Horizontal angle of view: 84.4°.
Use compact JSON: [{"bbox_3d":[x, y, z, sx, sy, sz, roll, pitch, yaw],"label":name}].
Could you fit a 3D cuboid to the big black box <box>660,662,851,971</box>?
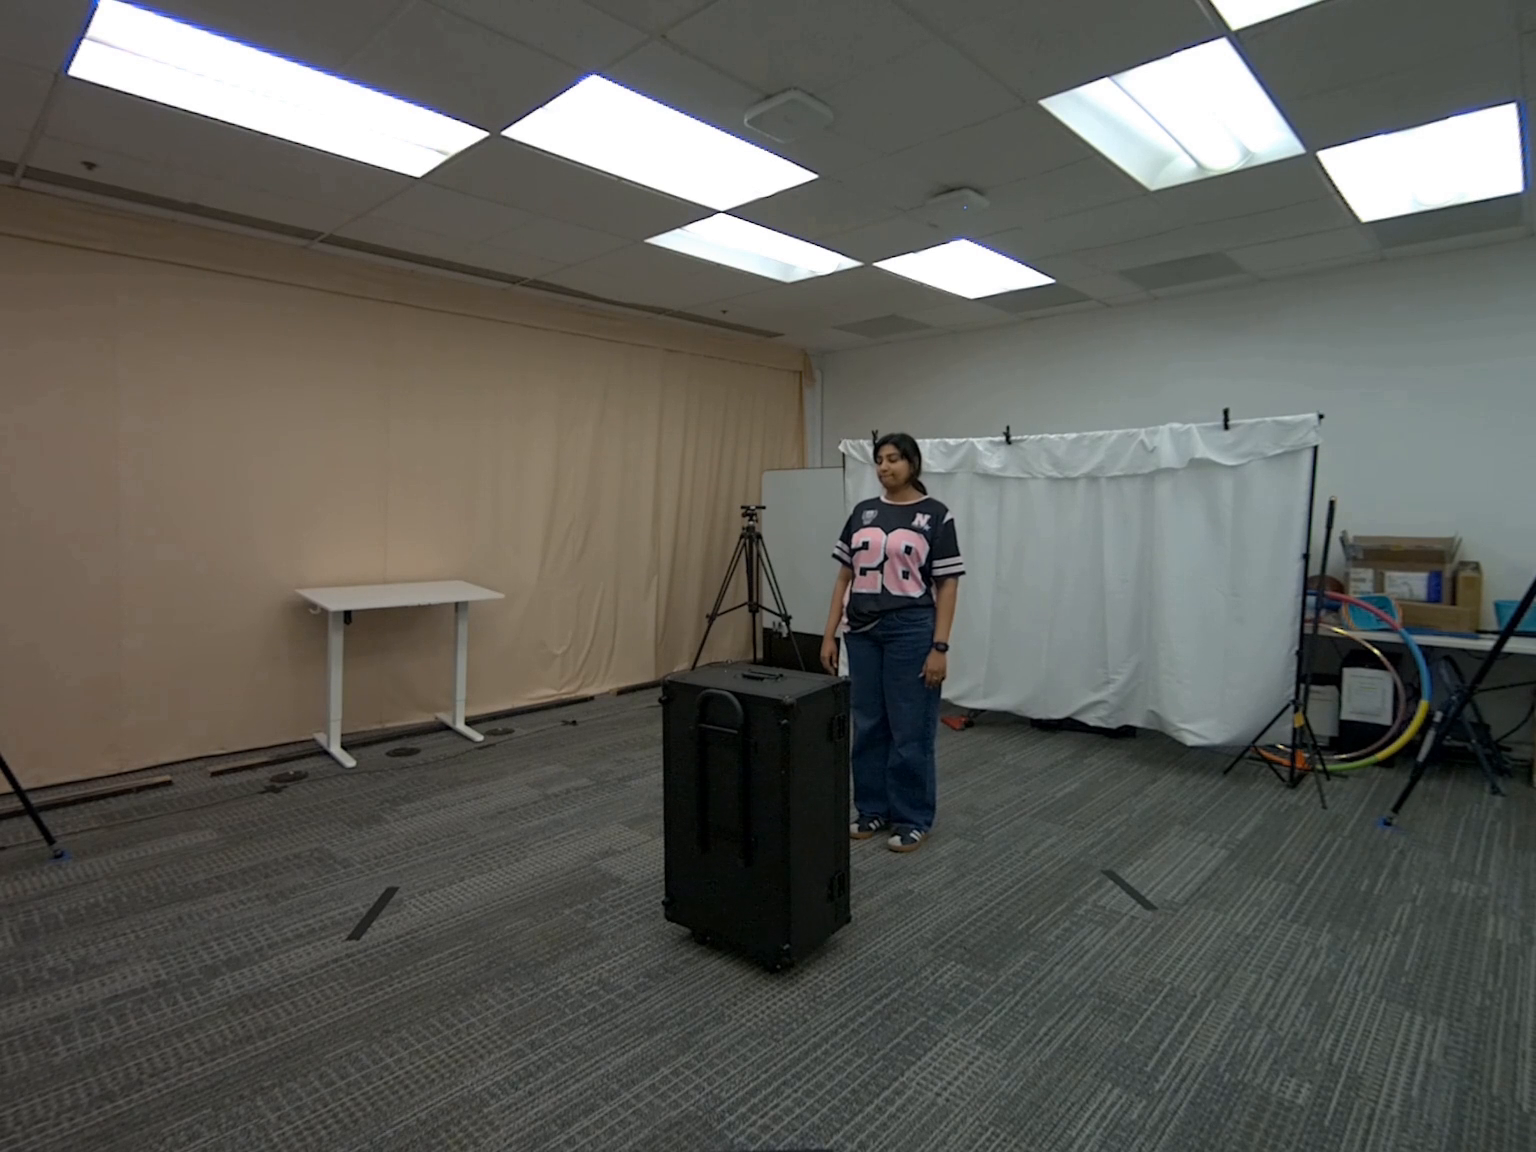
[{"bbox_3d":[-0.028,0.750,2.655,0.540,0.866,0.374,2,5,36],"label":"big black box"}]
